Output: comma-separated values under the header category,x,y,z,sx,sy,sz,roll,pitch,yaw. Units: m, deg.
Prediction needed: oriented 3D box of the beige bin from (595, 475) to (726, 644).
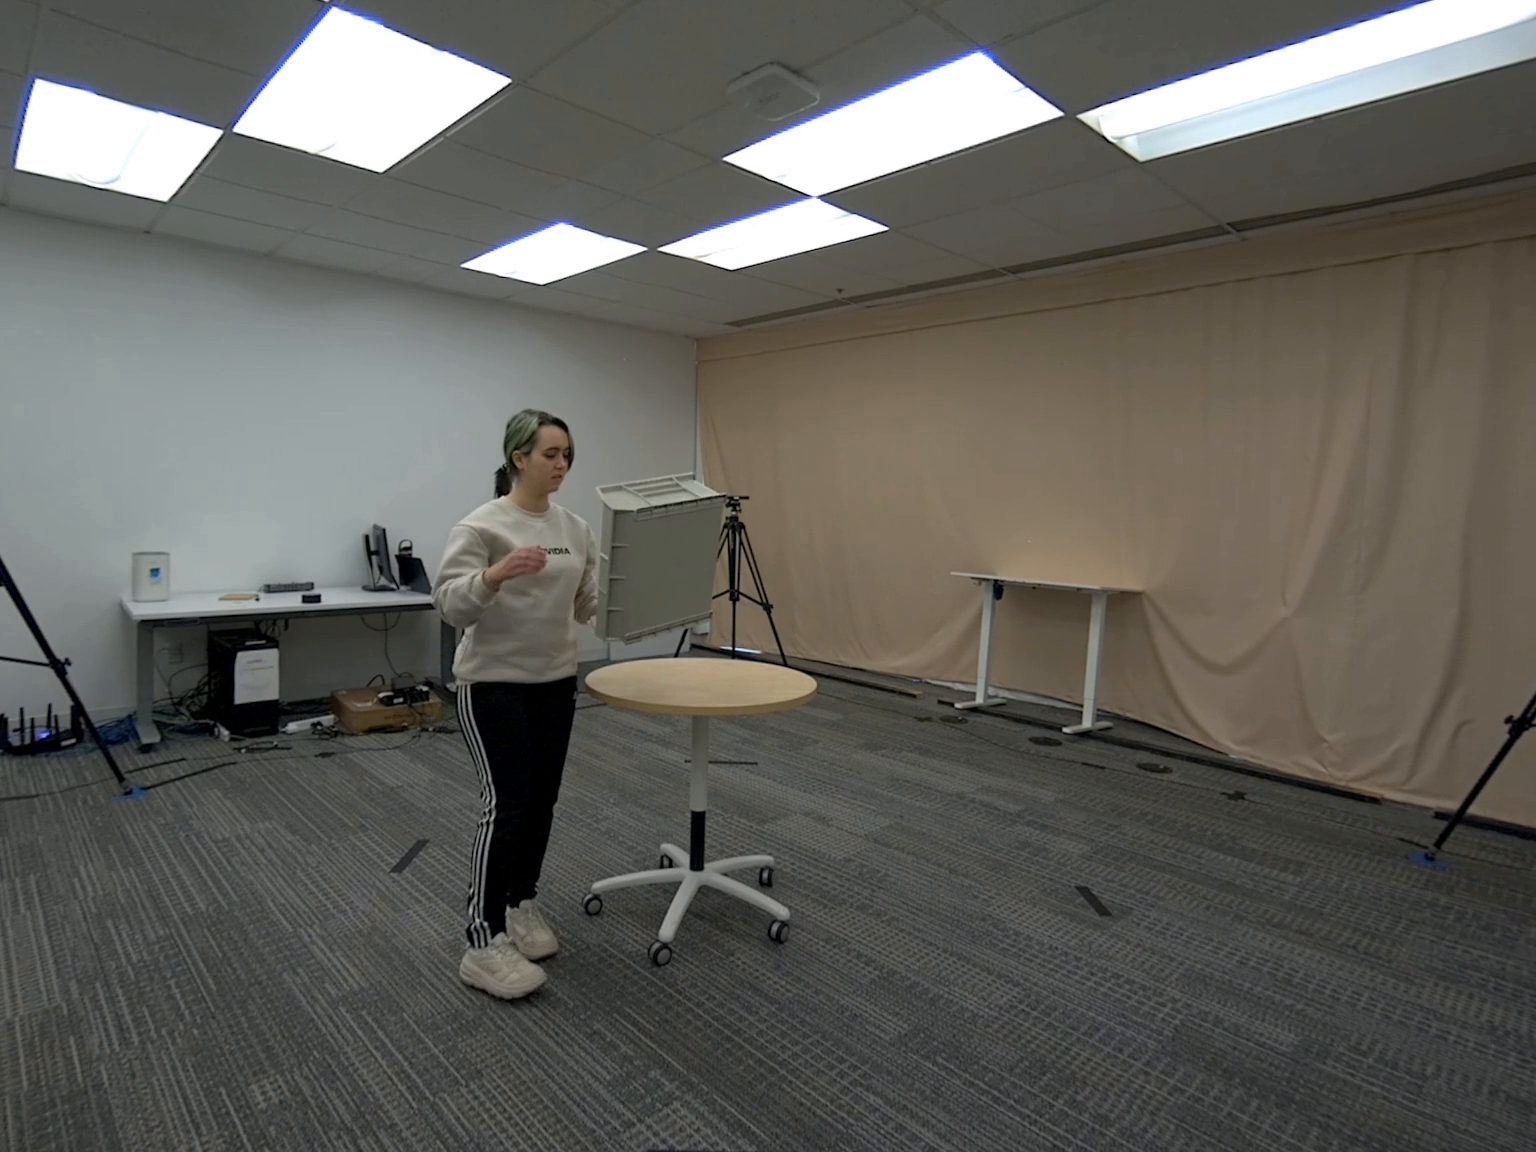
category,x,y,z,sx,sy,sz,roll,pitch,yaw
beige bin,-0.336,-0.052,2.411,0.370,0.416,0.195,-13,31,-39
